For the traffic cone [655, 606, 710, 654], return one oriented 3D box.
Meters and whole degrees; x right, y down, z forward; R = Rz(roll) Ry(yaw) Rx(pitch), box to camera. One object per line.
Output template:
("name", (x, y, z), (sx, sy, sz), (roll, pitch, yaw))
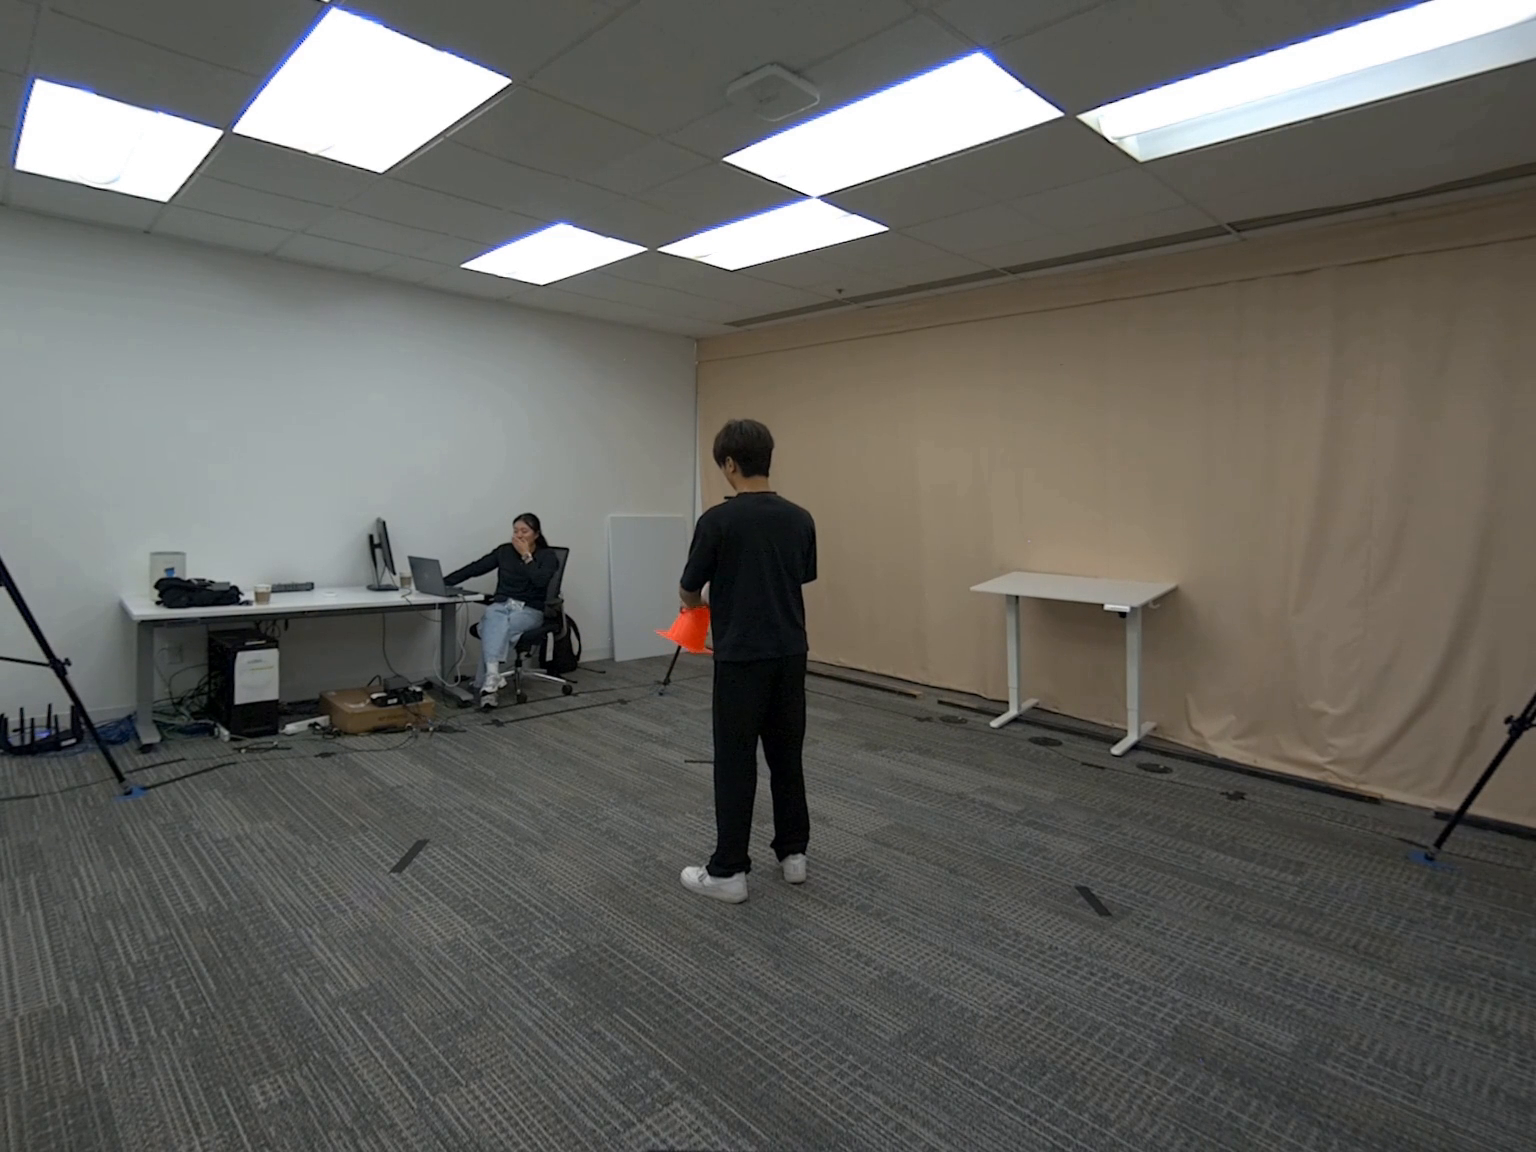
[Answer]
("traffic cone", (-0.272, 0.096, 3.371), (0.211, 0.383, 0.198), (23, 1, 33))
